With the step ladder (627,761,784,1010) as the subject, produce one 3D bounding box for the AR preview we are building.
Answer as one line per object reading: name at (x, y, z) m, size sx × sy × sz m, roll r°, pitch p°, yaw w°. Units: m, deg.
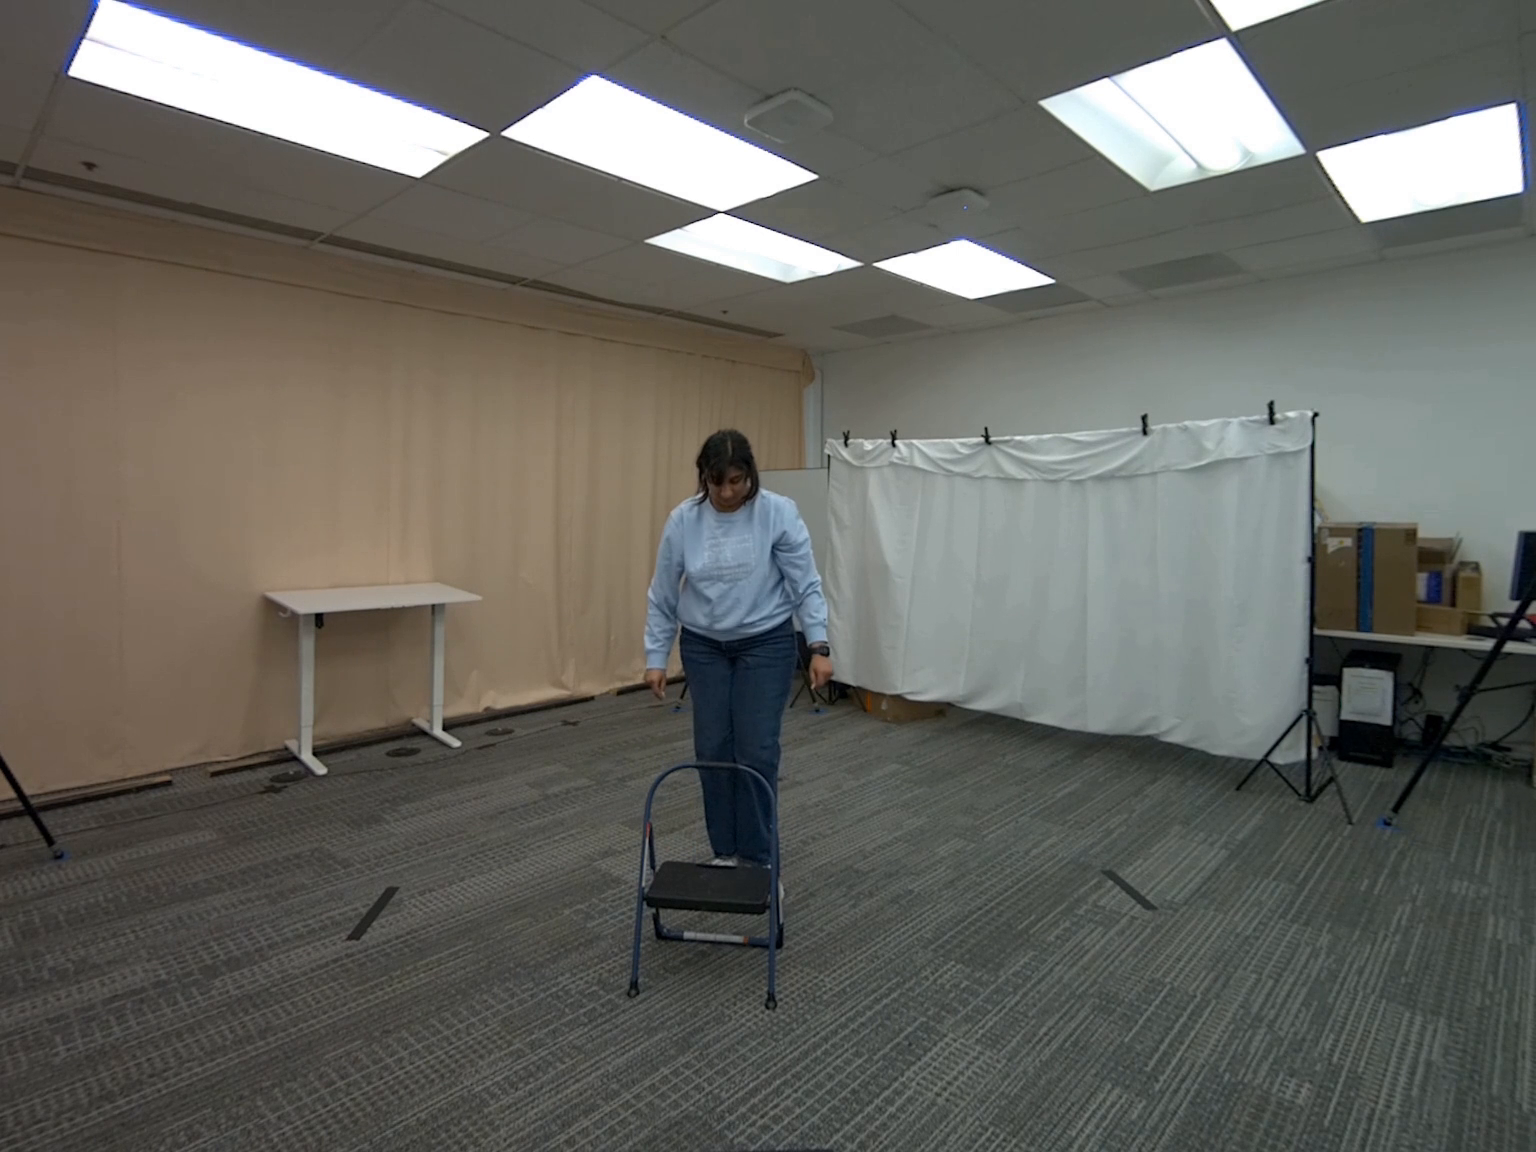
step ladder at (-0.173, 0.879, 2.514) m, size 0.435 × 0.605 × 0.347 m, roll 0°, pitch 4°, yaw 8°
